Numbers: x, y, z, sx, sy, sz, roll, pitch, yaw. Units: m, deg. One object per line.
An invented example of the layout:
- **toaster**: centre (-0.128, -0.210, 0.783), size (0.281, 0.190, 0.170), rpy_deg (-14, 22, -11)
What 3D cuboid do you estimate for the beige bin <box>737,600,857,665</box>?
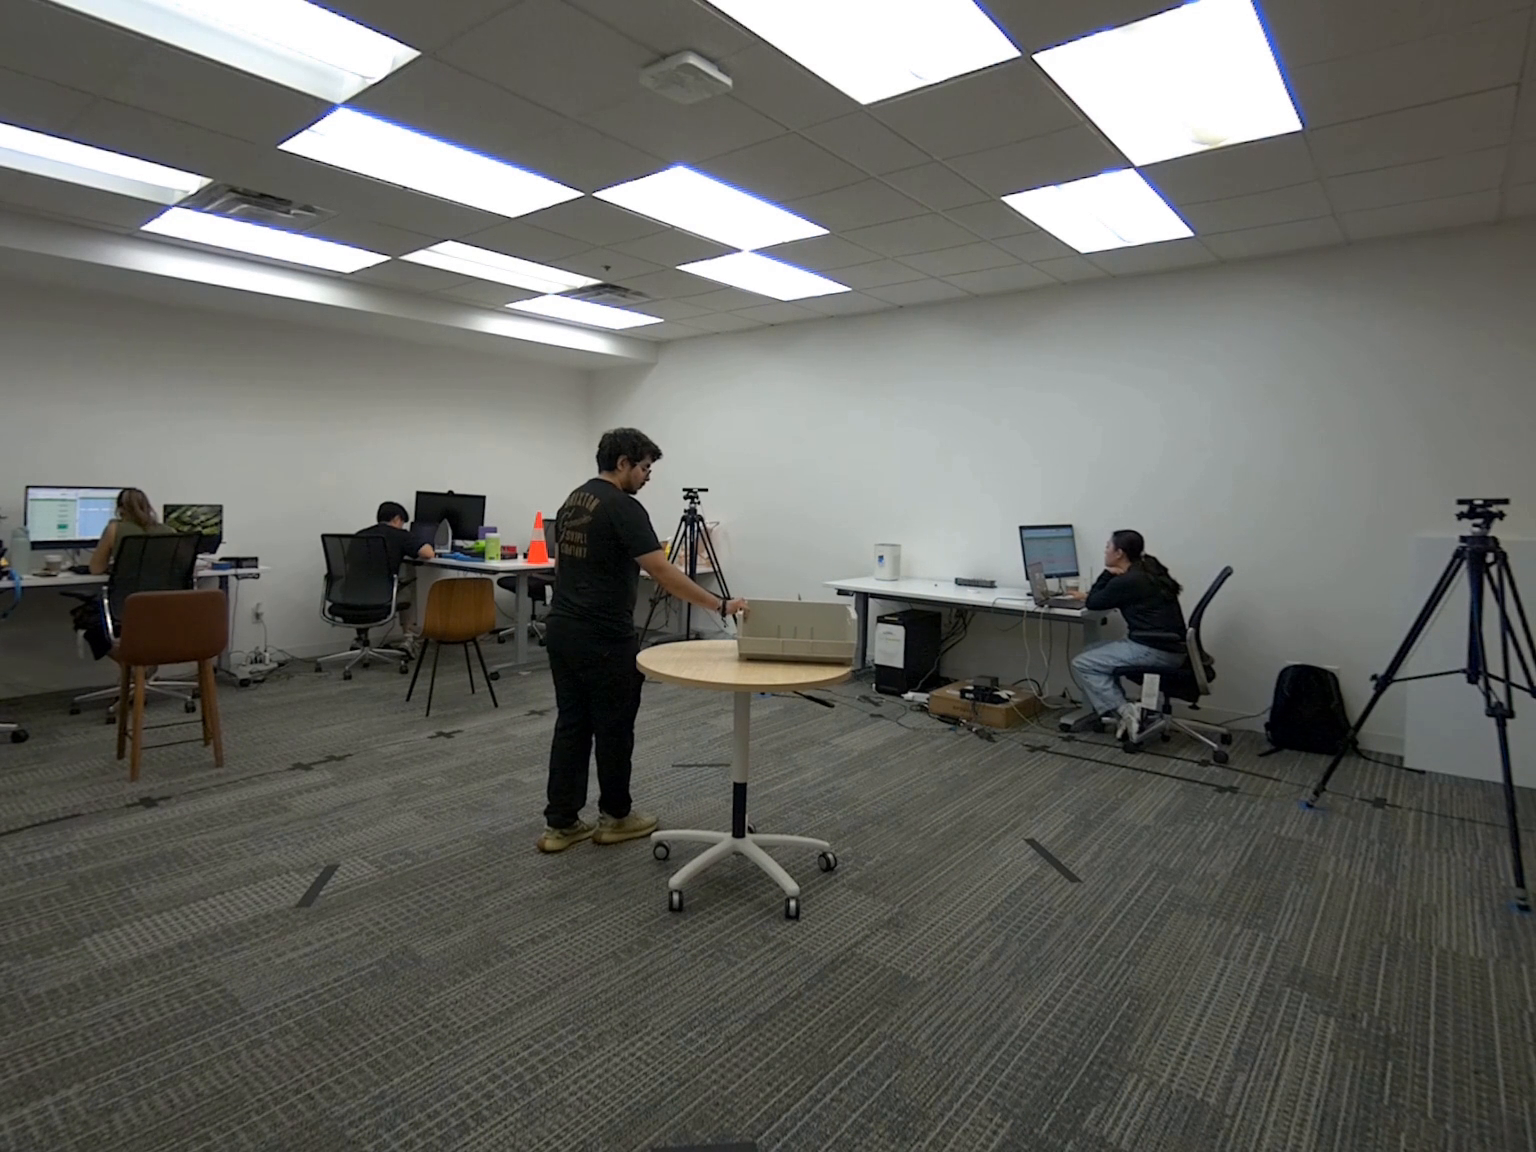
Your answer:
- **beige bin**: centre (0.096, 0.204, 3.126), size (0.425, 0.188, 0.377), rpy_deg (1, 5, 4)
